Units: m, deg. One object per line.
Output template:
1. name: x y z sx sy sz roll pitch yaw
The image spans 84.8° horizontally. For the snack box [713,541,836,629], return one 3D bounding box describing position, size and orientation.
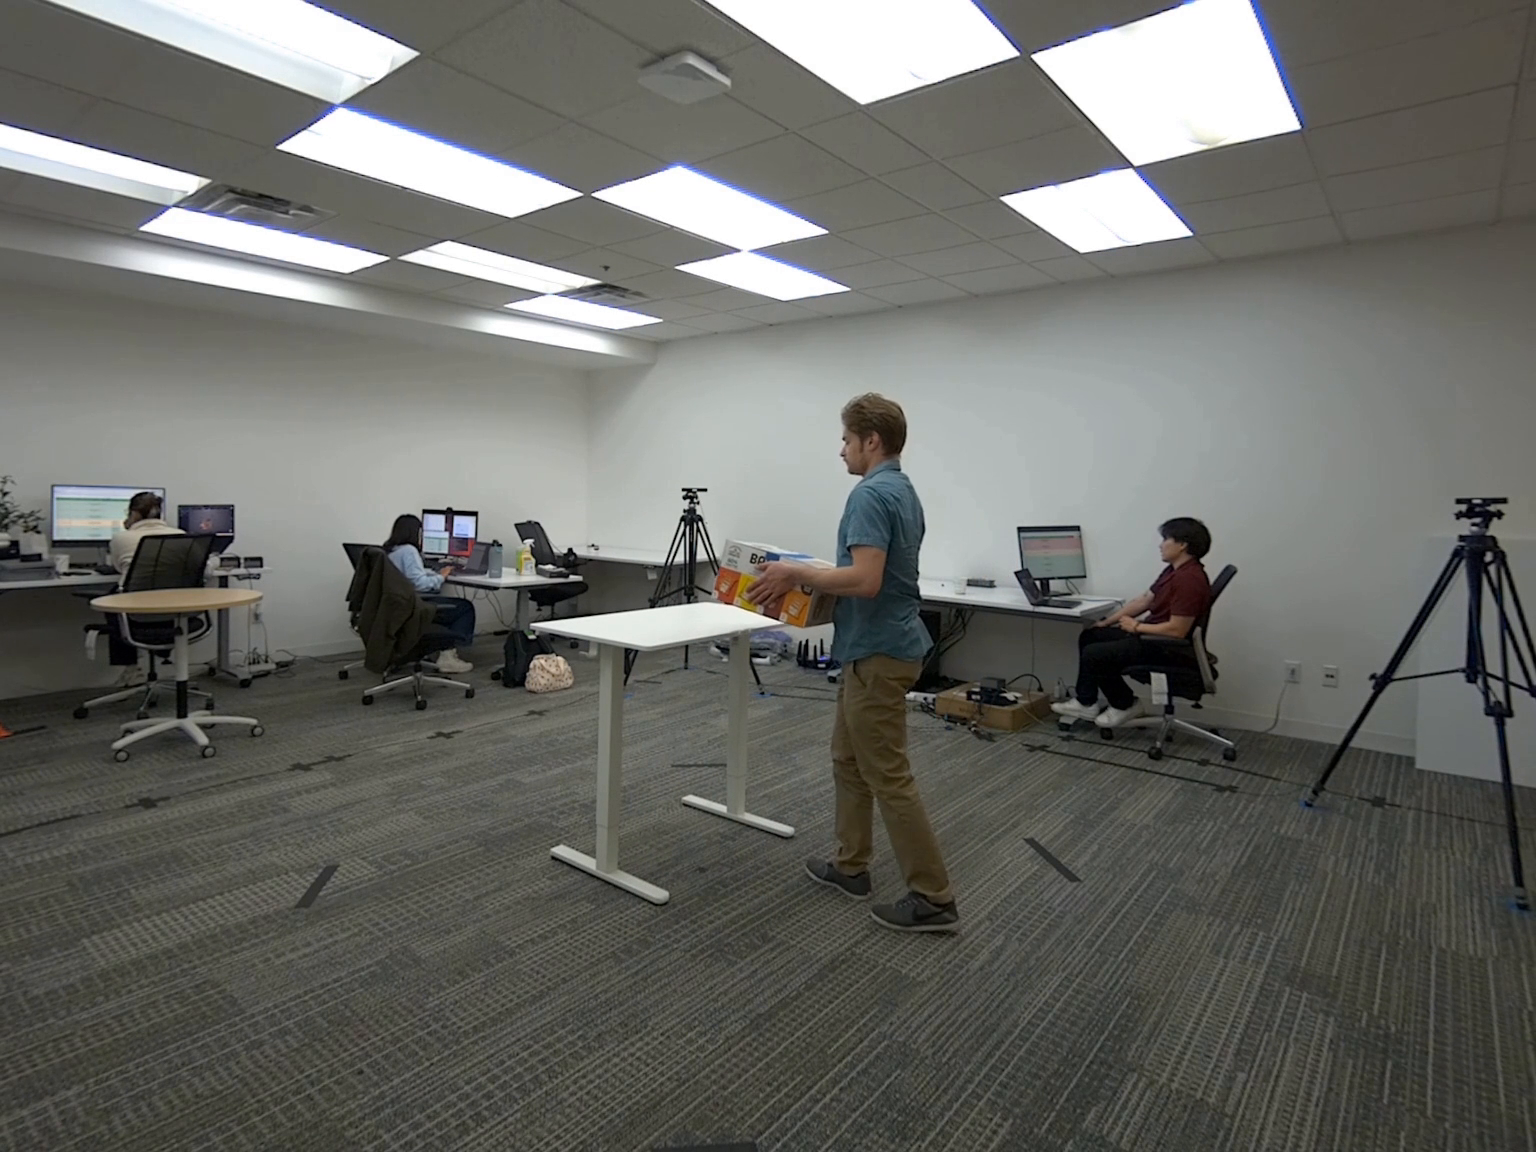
1. snack box: 0.046 0.021 2.948 0.350 0.205 0.395 18 6 21
